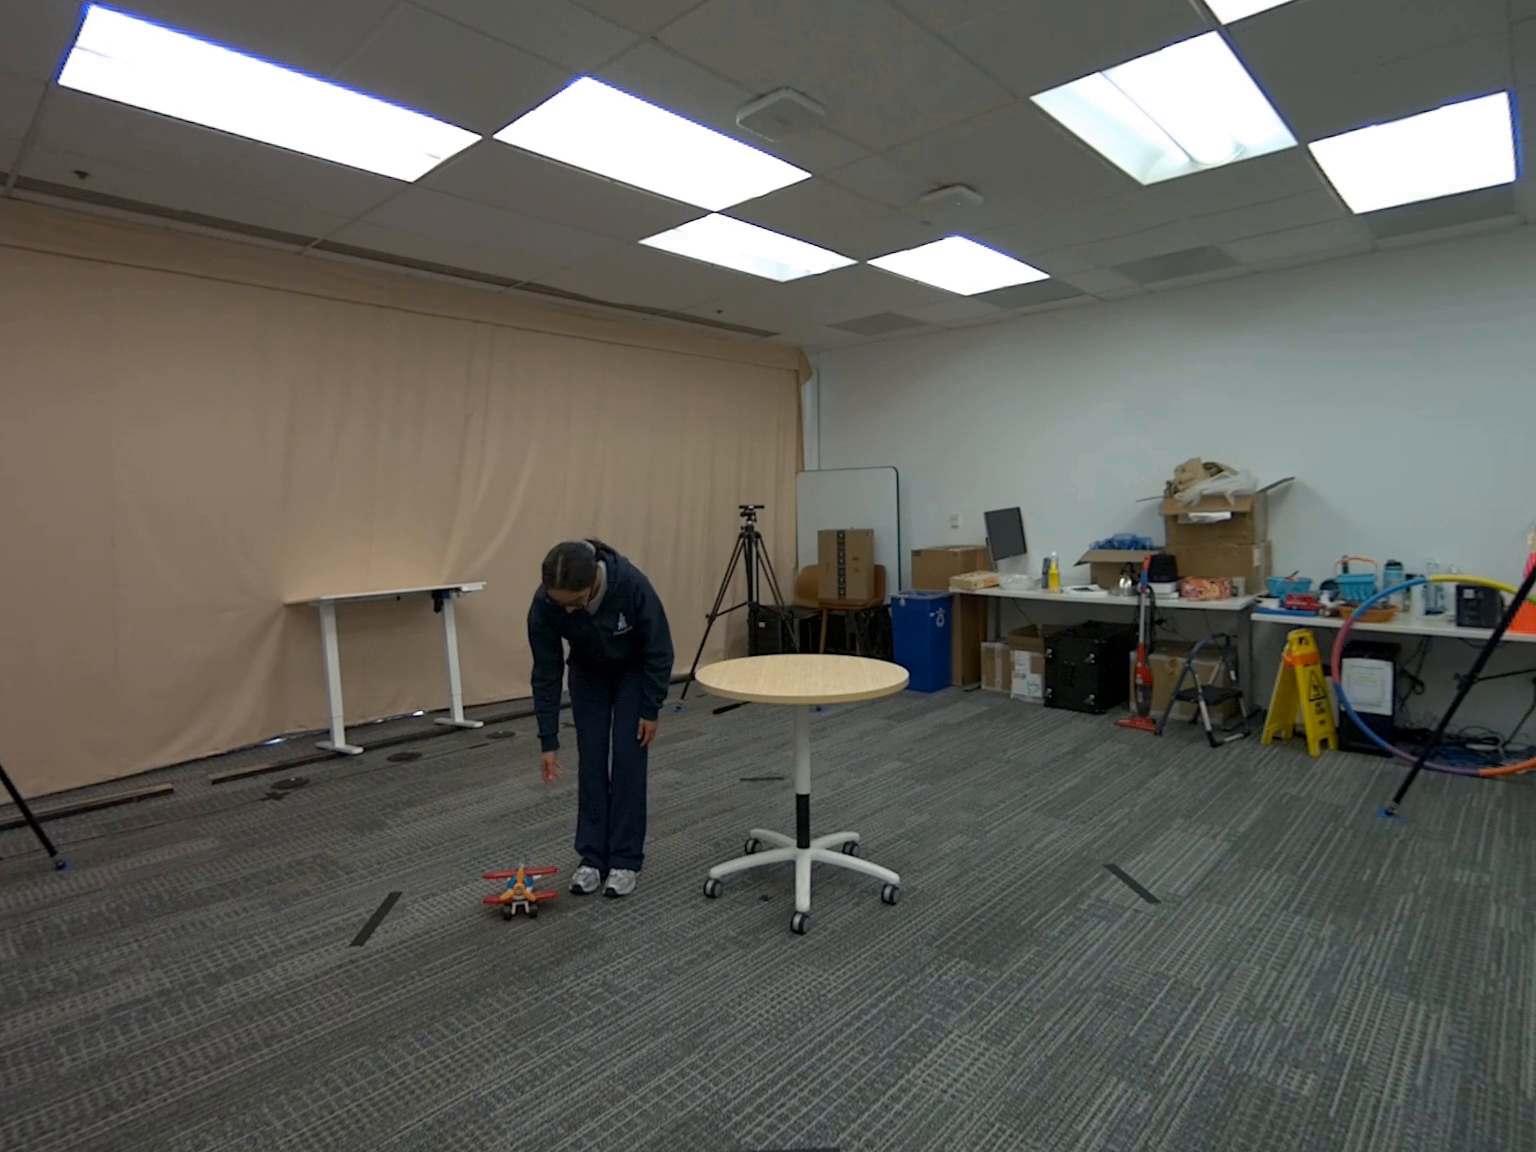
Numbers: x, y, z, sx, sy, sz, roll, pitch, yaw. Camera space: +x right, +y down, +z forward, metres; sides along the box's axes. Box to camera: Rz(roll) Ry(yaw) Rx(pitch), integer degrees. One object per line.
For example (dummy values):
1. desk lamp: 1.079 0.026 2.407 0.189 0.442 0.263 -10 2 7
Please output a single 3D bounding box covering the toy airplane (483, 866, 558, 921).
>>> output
1. toy airplane: -0.887 1.092 2.955 0.244 0.156 0.267 -3 3 -37
